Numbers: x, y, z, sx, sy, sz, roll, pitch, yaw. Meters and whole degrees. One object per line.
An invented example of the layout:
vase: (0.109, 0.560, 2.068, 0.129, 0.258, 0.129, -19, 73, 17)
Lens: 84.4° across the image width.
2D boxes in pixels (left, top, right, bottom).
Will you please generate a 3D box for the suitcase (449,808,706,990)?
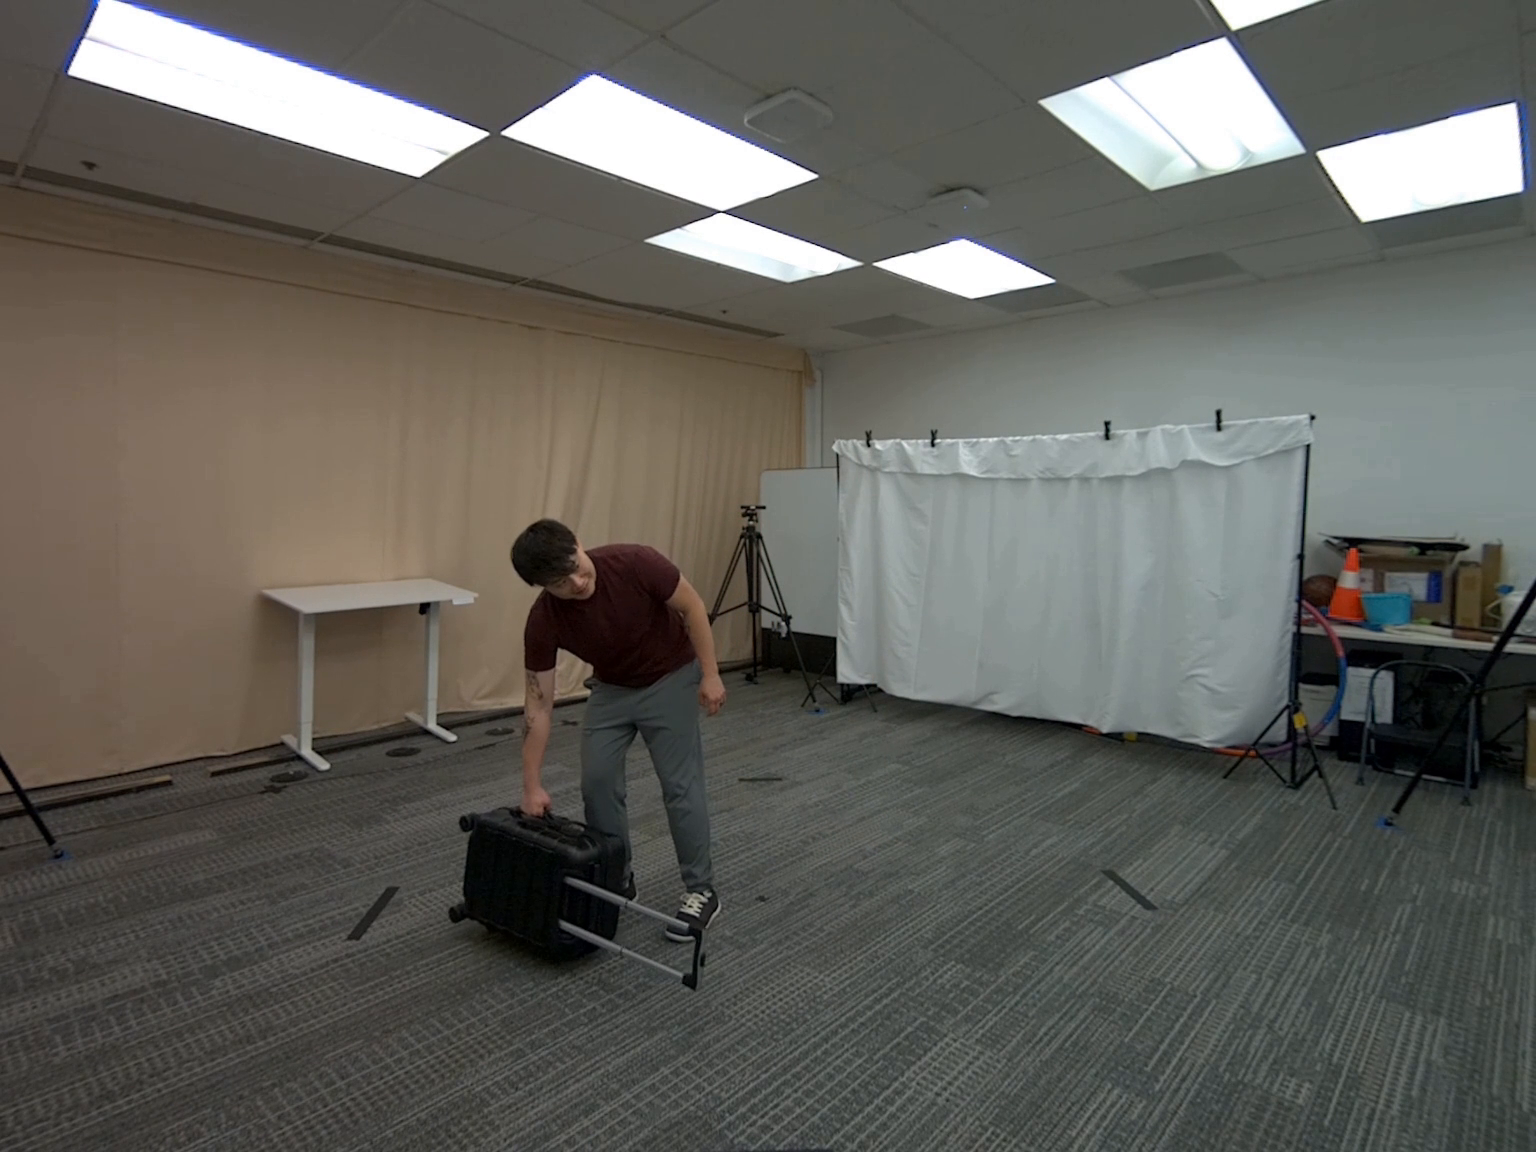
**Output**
suitcase: (-0.547, 0.970, 2.570, 1.008, 0.384, 0.249, 4, -3, 31)
